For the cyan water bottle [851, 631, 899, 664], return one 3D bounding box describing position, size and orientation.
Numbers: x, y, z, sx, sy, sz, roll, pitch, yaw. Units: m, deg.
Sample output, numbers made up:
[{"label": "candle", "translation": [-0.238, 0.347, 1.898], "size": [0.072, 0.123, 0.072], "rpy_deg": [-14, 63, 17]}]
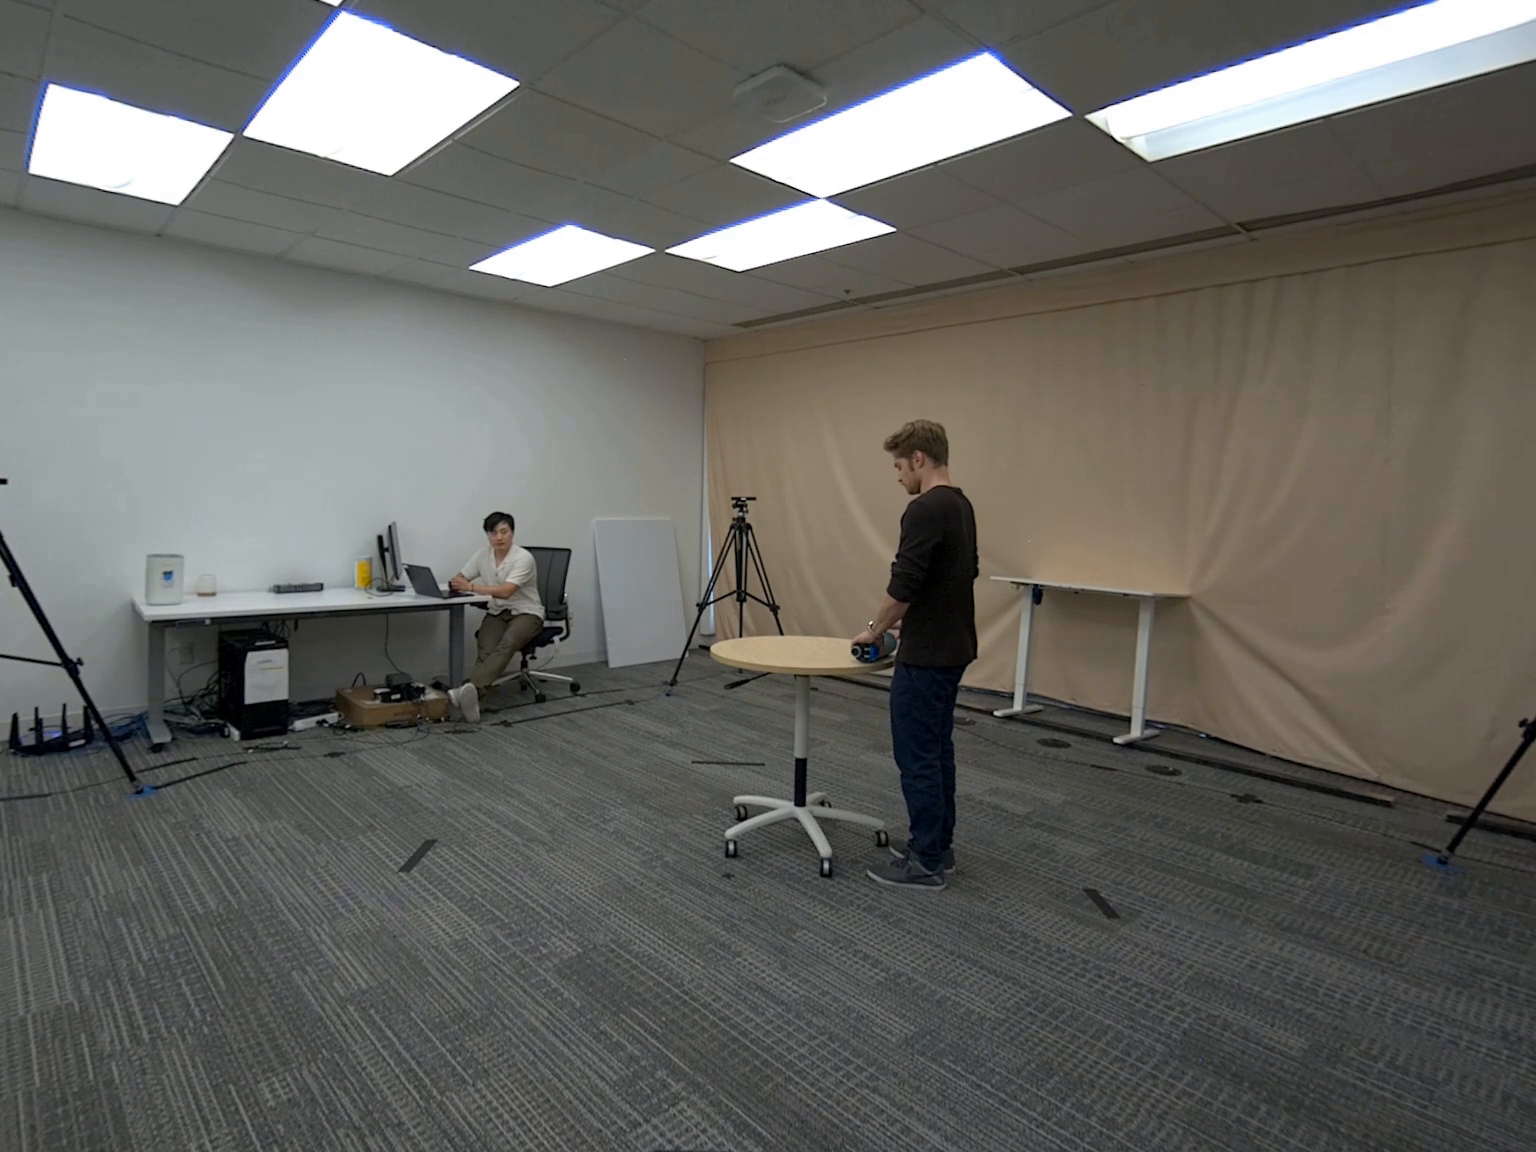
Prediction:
[{"label": "cyan water bottle", "translation": [0.405, 0.275, 3.261], "size": [0.094, 0.092, 0.278], "rpy_deg": [3, 7, 27]}]
